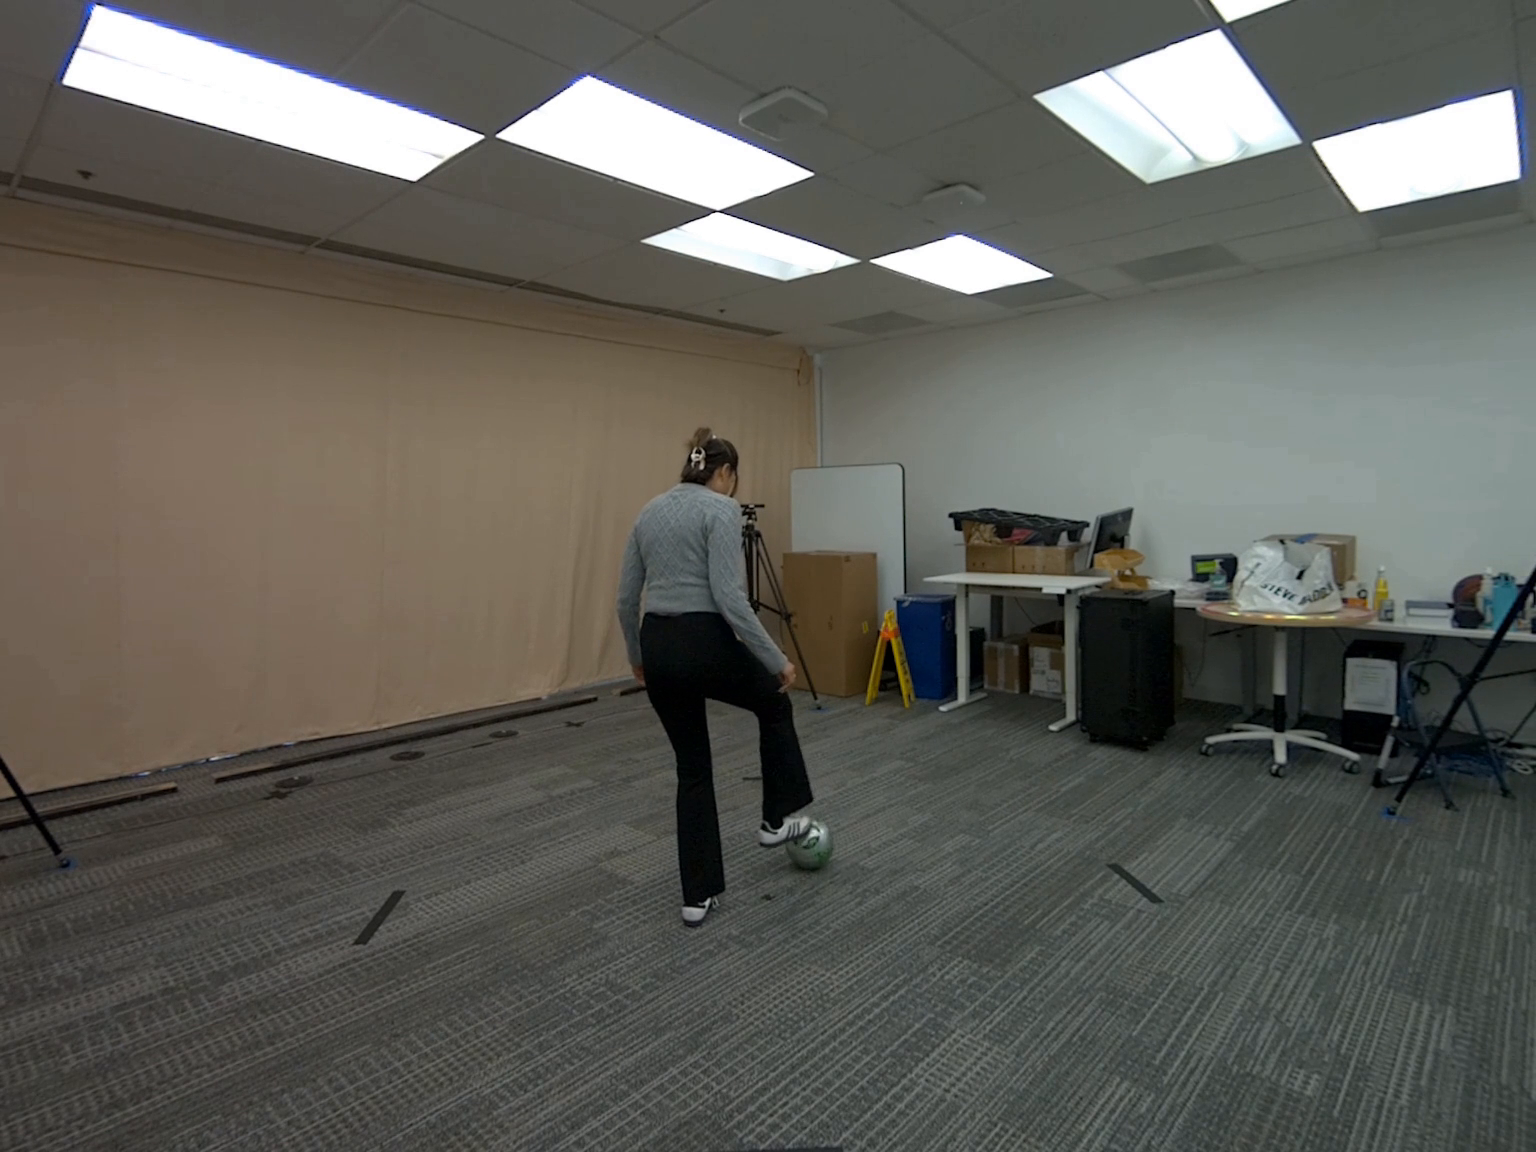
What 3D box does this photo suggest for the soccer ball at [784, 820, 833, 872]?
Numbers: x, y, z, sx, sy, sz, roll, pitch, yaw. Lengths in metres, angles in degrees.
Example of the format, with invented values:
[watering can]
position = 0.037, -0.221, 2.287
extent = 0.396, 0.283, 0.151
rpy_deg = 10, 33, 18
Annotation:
[soccer ball]
position = 0.160, 1.021, 3.216
extent = 0.187, 0.187, 0.188
rpy_deg = -1, 4, -2
